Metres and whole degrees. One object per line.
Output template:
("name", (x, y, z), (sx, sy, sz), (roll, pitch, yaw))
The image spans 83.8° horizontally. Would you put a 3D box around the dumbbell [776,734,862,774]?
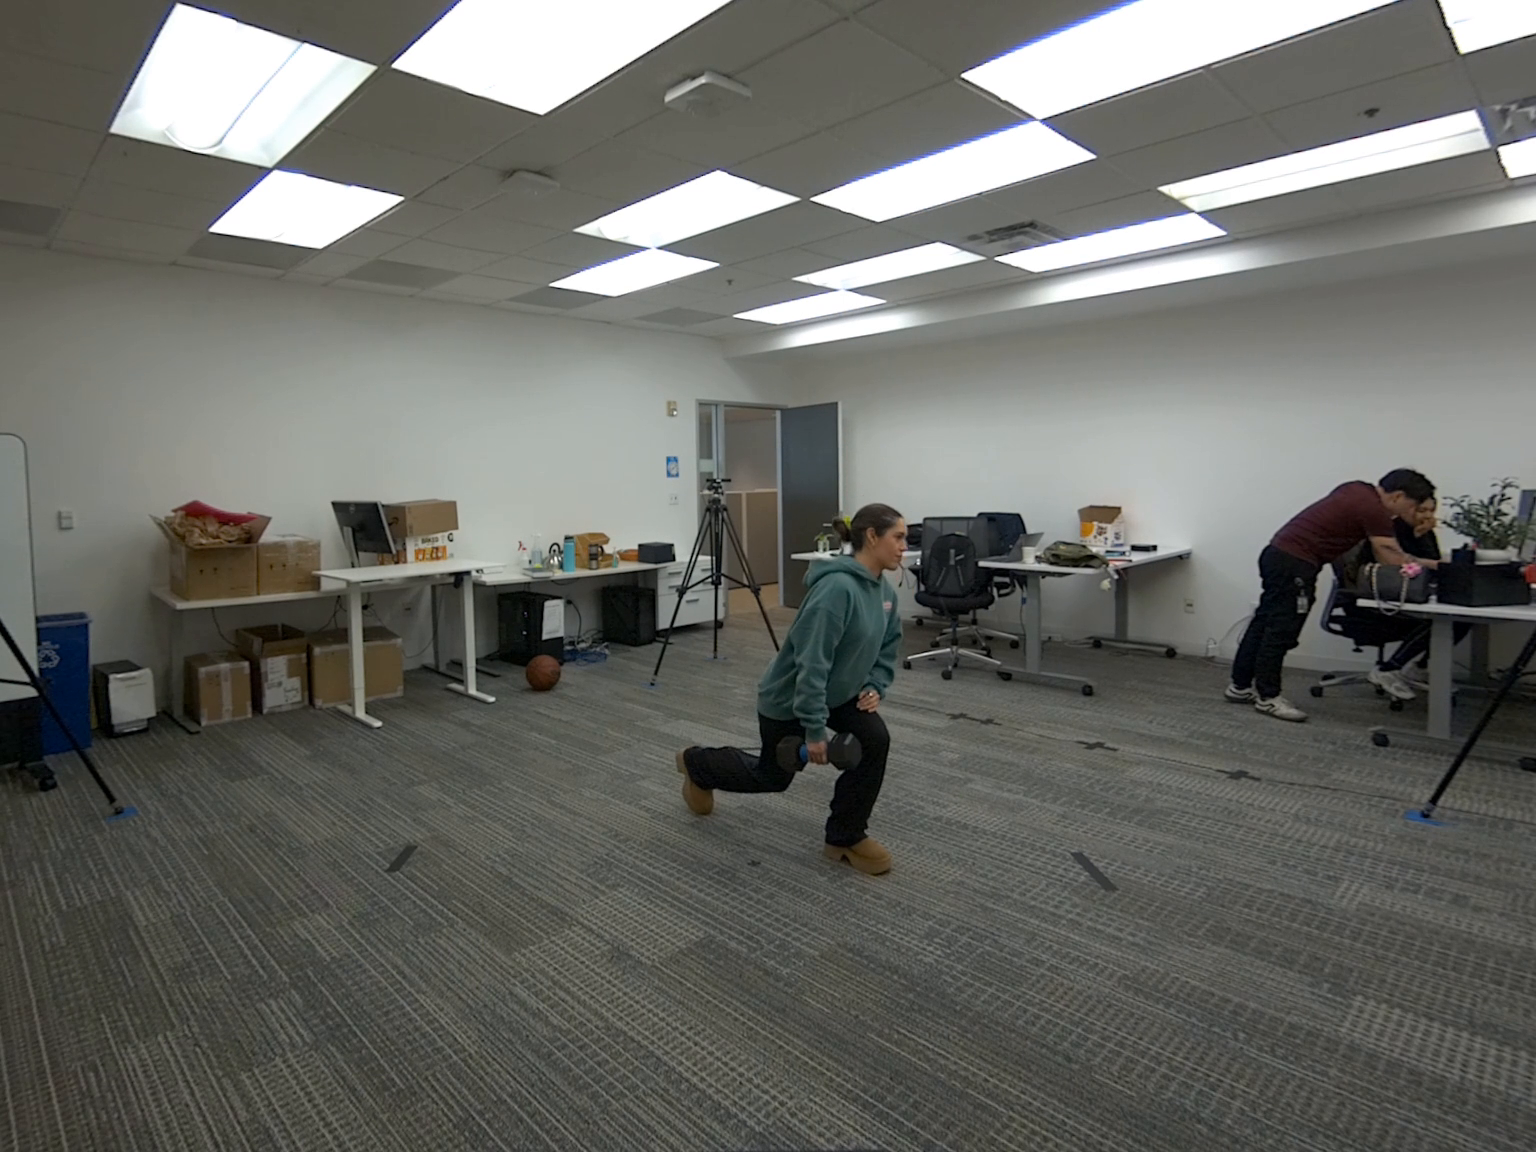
("dumbbell", (0.178, 0.613, 2.962), (0.300, 0.110, 0.118), (-11, -43, 36))
